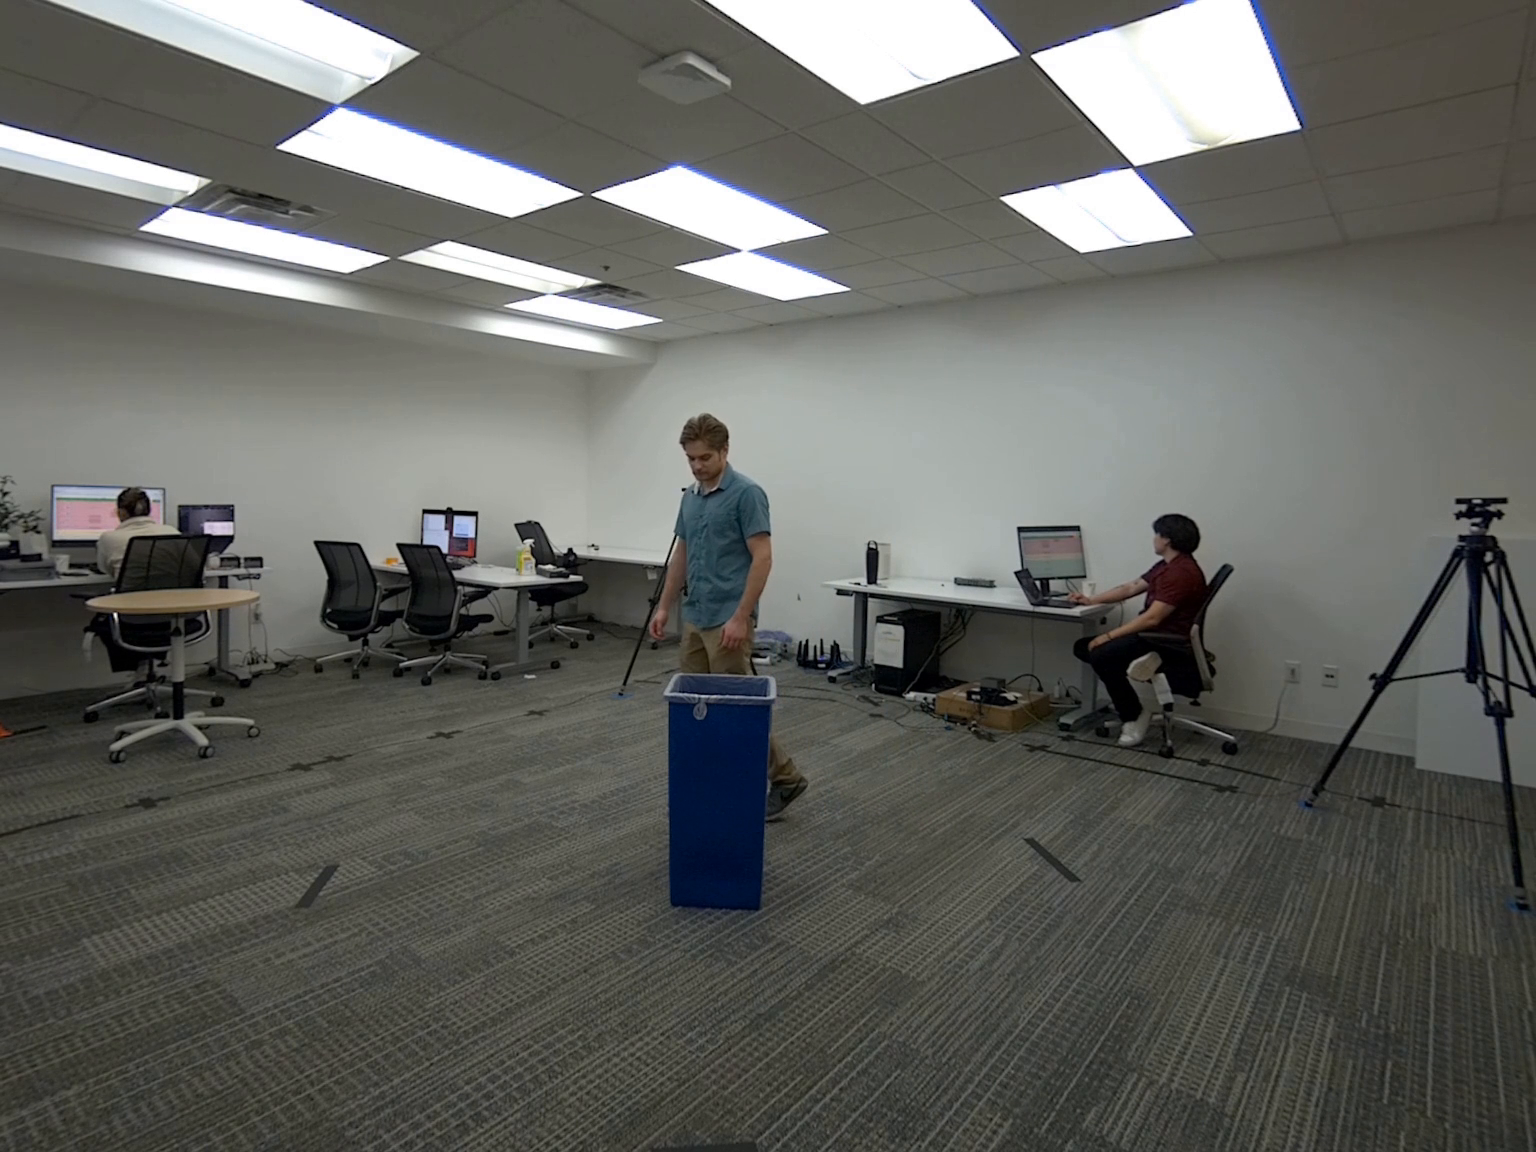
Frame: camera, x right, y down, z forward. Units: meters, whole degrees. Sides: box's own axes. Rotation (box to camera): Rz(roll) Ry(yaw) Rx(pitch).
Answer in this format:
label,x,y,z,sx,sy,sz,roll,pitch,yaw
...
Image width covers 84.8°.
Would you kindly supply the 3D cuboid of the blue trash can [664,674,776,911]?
label,x,y,z,sx,sy,sz,roll,pitch,yaw
blue trash can,-0.179,0.727,2.963,0.379,0.712,0.374,1,3,1
